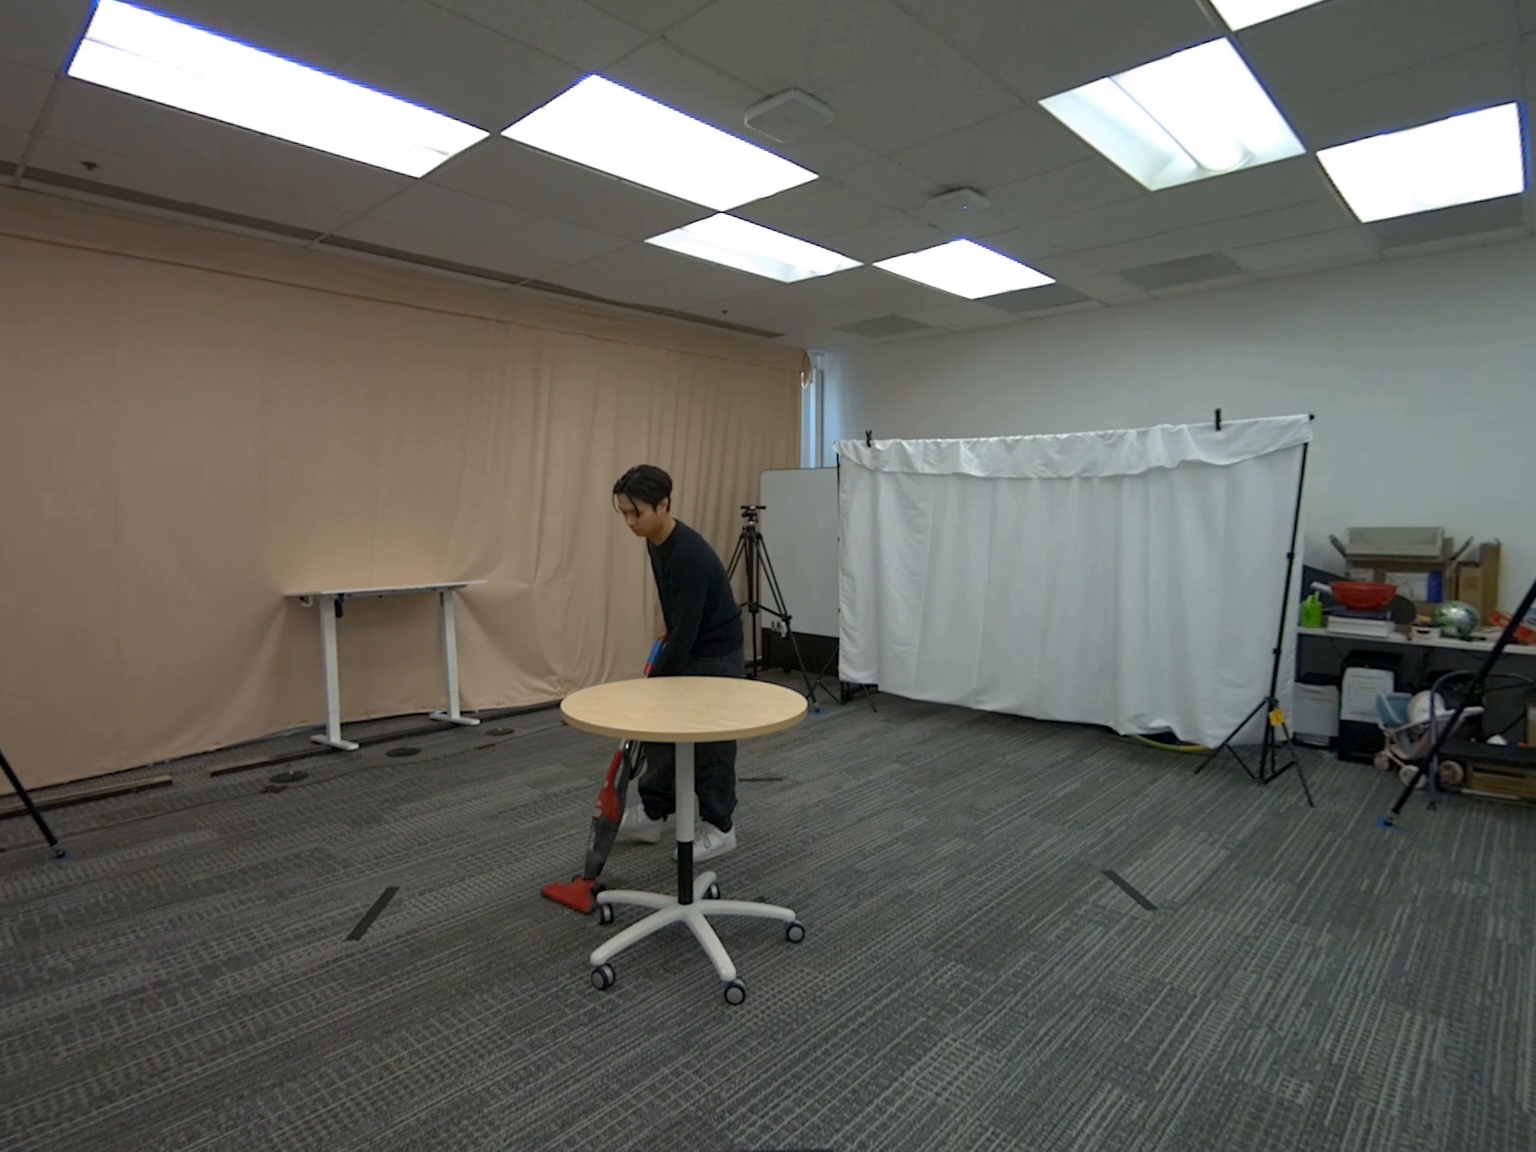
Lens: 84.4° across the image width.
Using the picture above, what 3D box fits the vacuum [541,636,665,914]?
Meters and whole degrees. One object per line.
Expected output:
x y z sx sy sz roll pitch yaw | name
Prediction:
-0.533 0.674 3.173 0.260 1.054 0.139 5 -23 33 | vacuum
